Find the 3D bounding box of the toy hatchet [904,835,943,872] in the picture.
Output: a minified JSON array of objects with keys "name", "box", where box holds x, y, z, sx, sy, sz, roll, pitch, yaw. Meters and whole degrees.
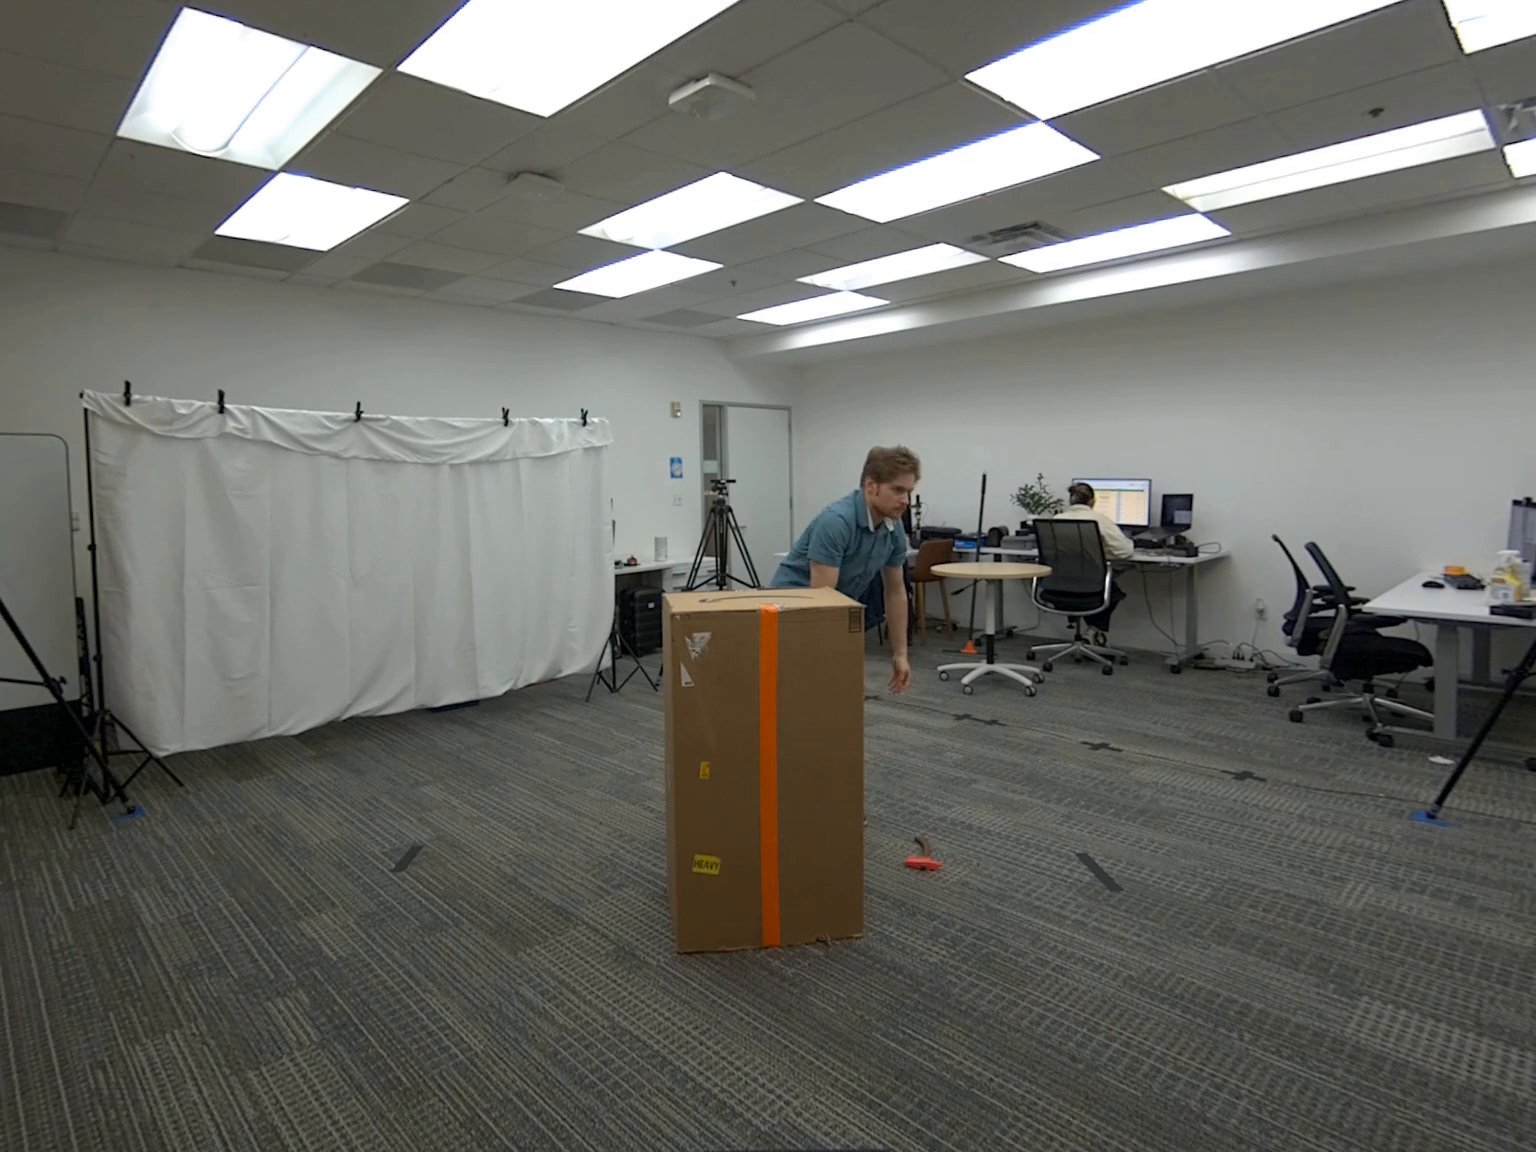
[{"name":"toy hatchet","box":[0.555,1.022,3.154,0.131,0.029,0.271,-6,4,-3]}]
